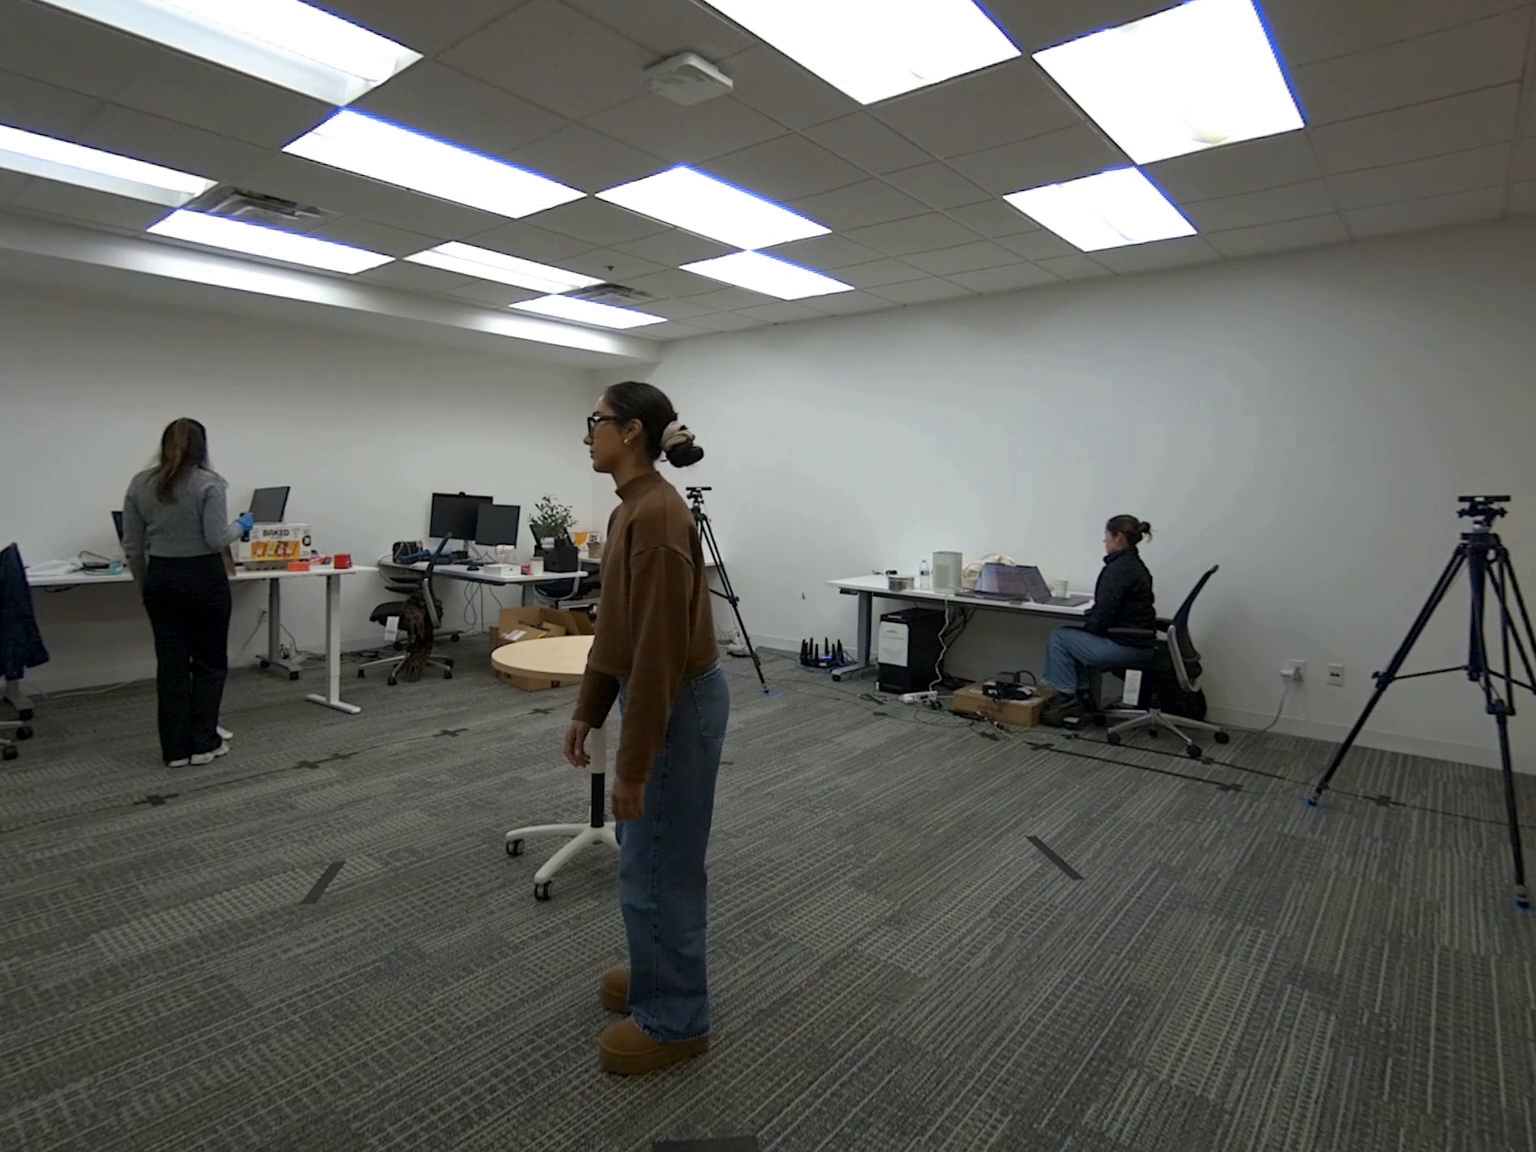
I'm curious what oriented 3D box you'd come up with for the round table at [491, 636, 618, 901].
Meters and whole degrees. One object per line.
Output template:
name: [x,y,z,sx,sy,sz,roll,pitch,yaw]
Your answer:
round table: [-0.638,0.671,3.122,0.763,0.791,0.767,1,4,-2]
